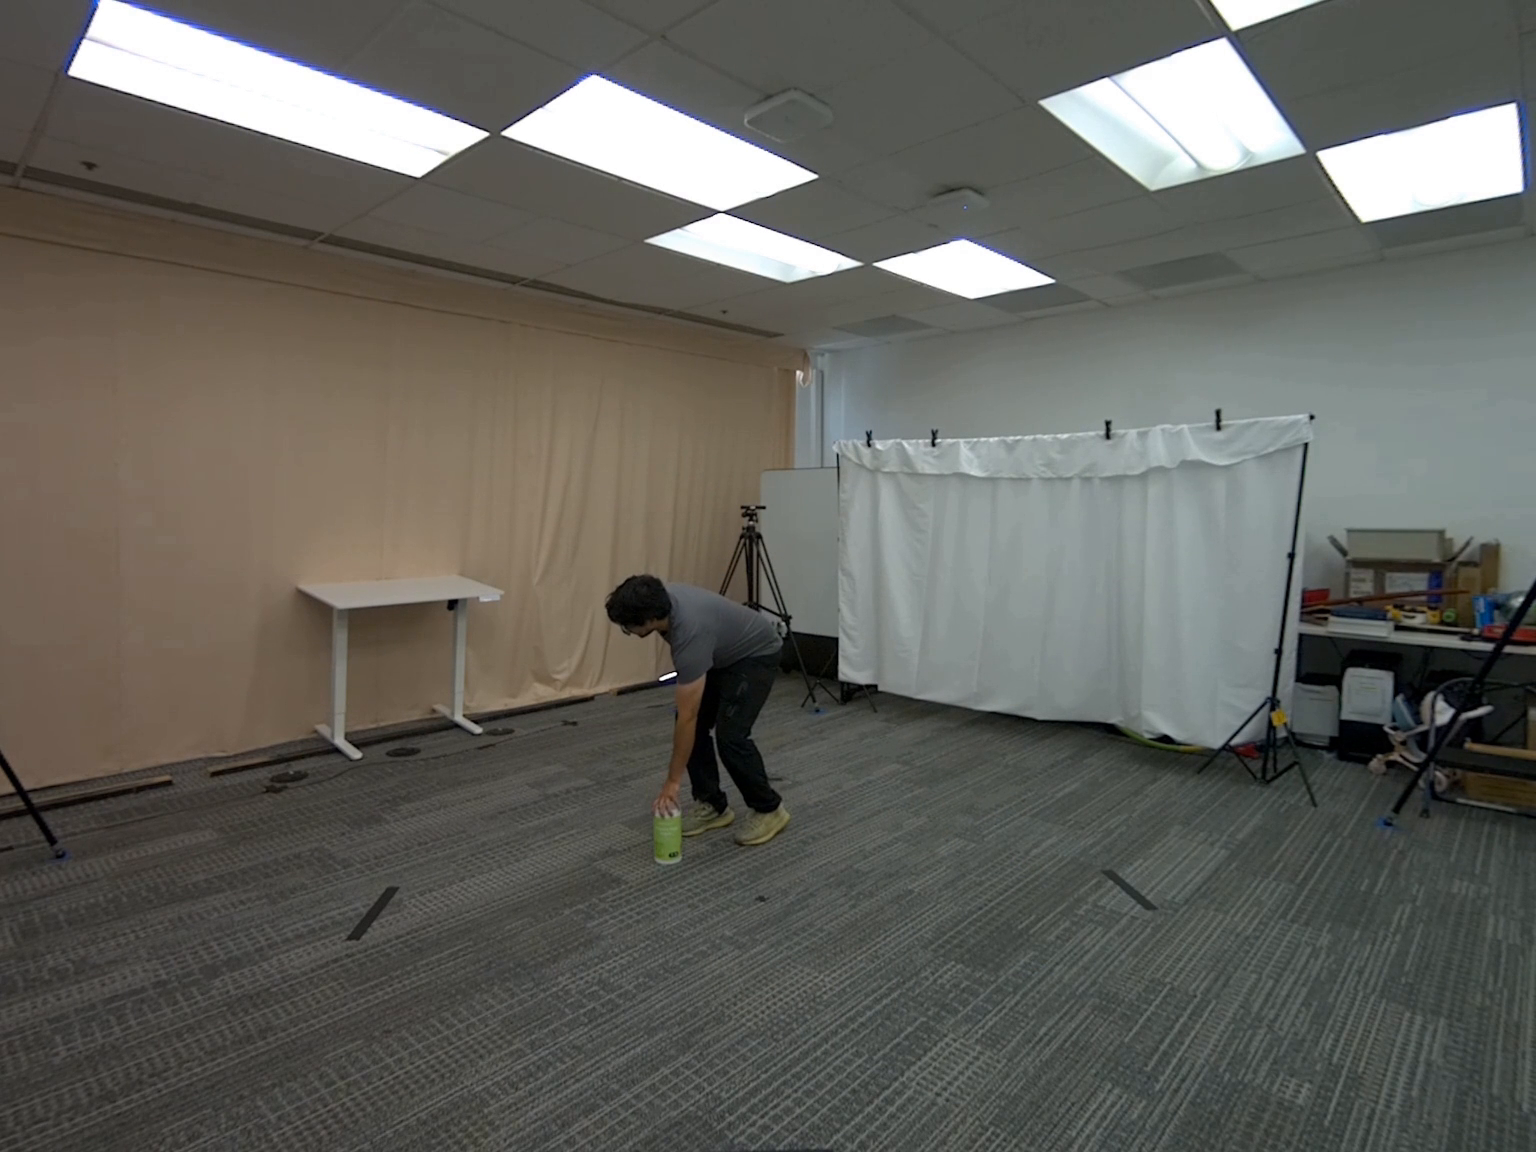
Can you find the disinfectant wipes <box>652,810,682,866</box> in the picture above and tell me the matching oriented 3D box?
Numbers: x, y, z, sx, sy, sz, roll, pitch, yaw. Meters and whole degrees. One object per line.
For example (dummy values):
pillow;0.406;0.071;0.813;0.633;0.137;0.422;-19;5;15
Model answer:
disinfectant wipes;-0.400;1.007;3.314;0.117;0.217;0.118;3;6;-2
